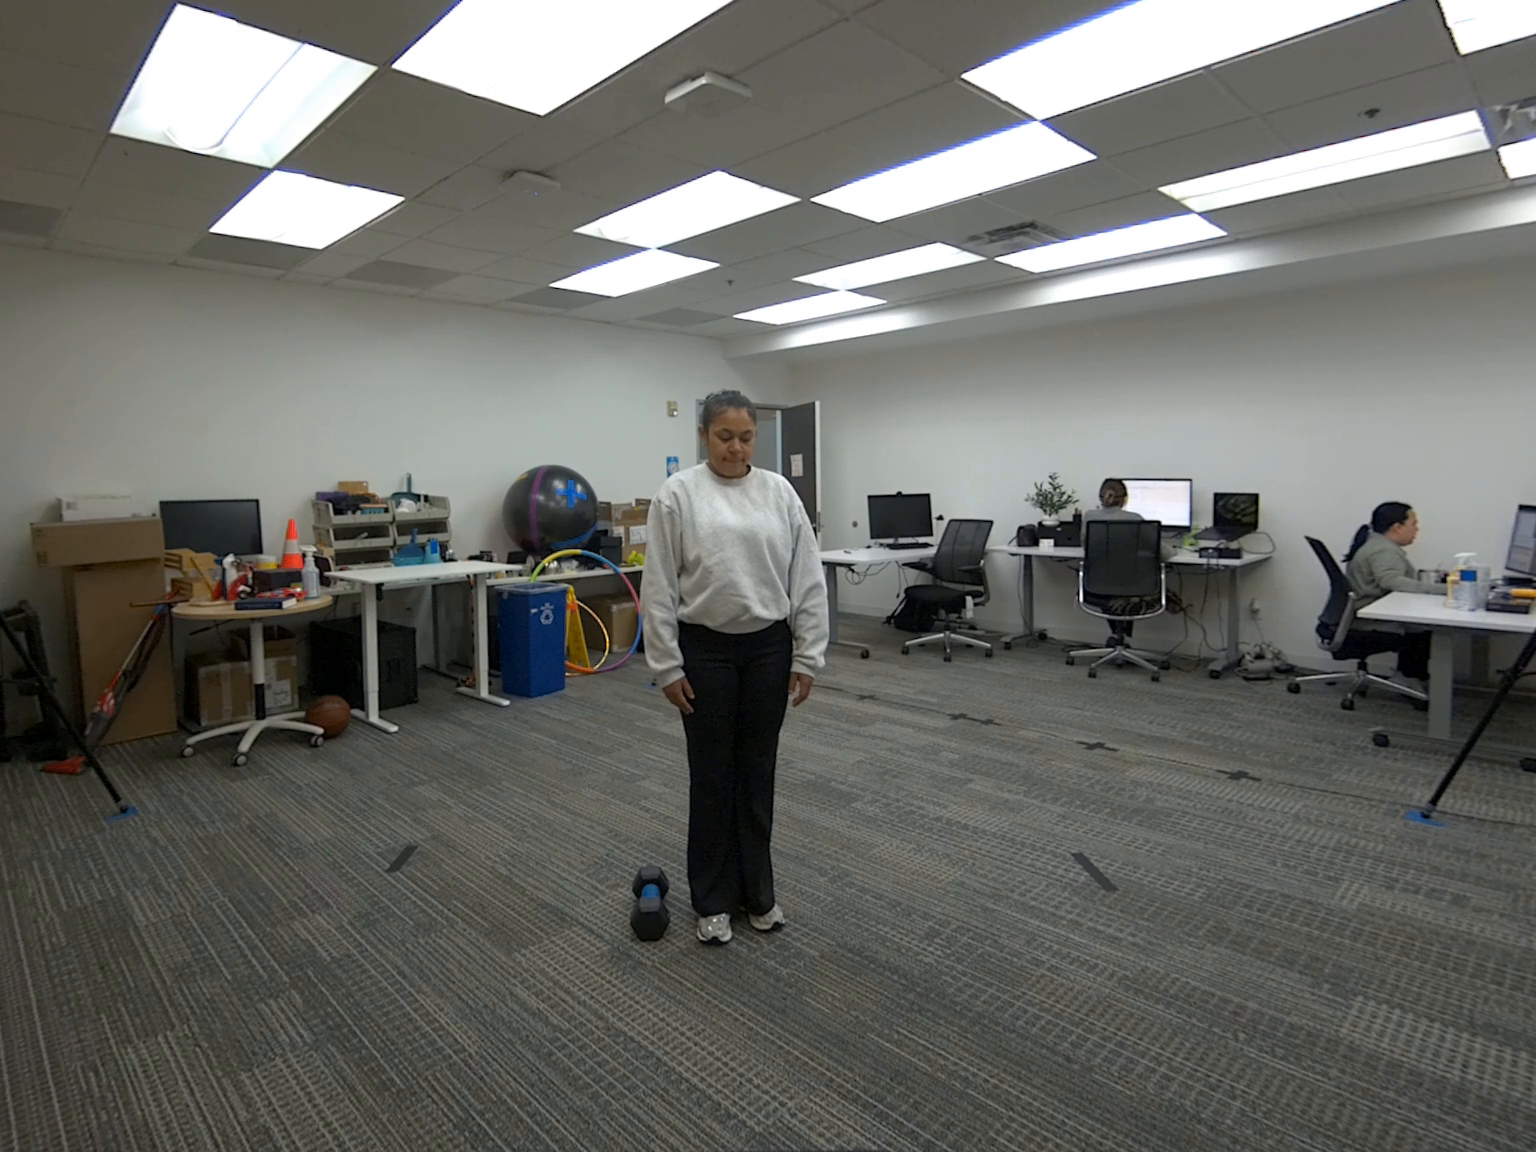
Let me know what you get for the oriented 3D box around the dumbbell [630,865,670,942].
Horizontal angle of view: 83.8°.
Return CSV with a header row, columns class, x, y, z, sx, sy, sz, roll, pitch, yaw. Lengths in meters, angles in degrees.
class,x,y,z,sx,sy,sz,roll,pitch,yaw
dumbbell,-0.368,1.040,2.728,0.107,0.123,0.297,30,2,-9
